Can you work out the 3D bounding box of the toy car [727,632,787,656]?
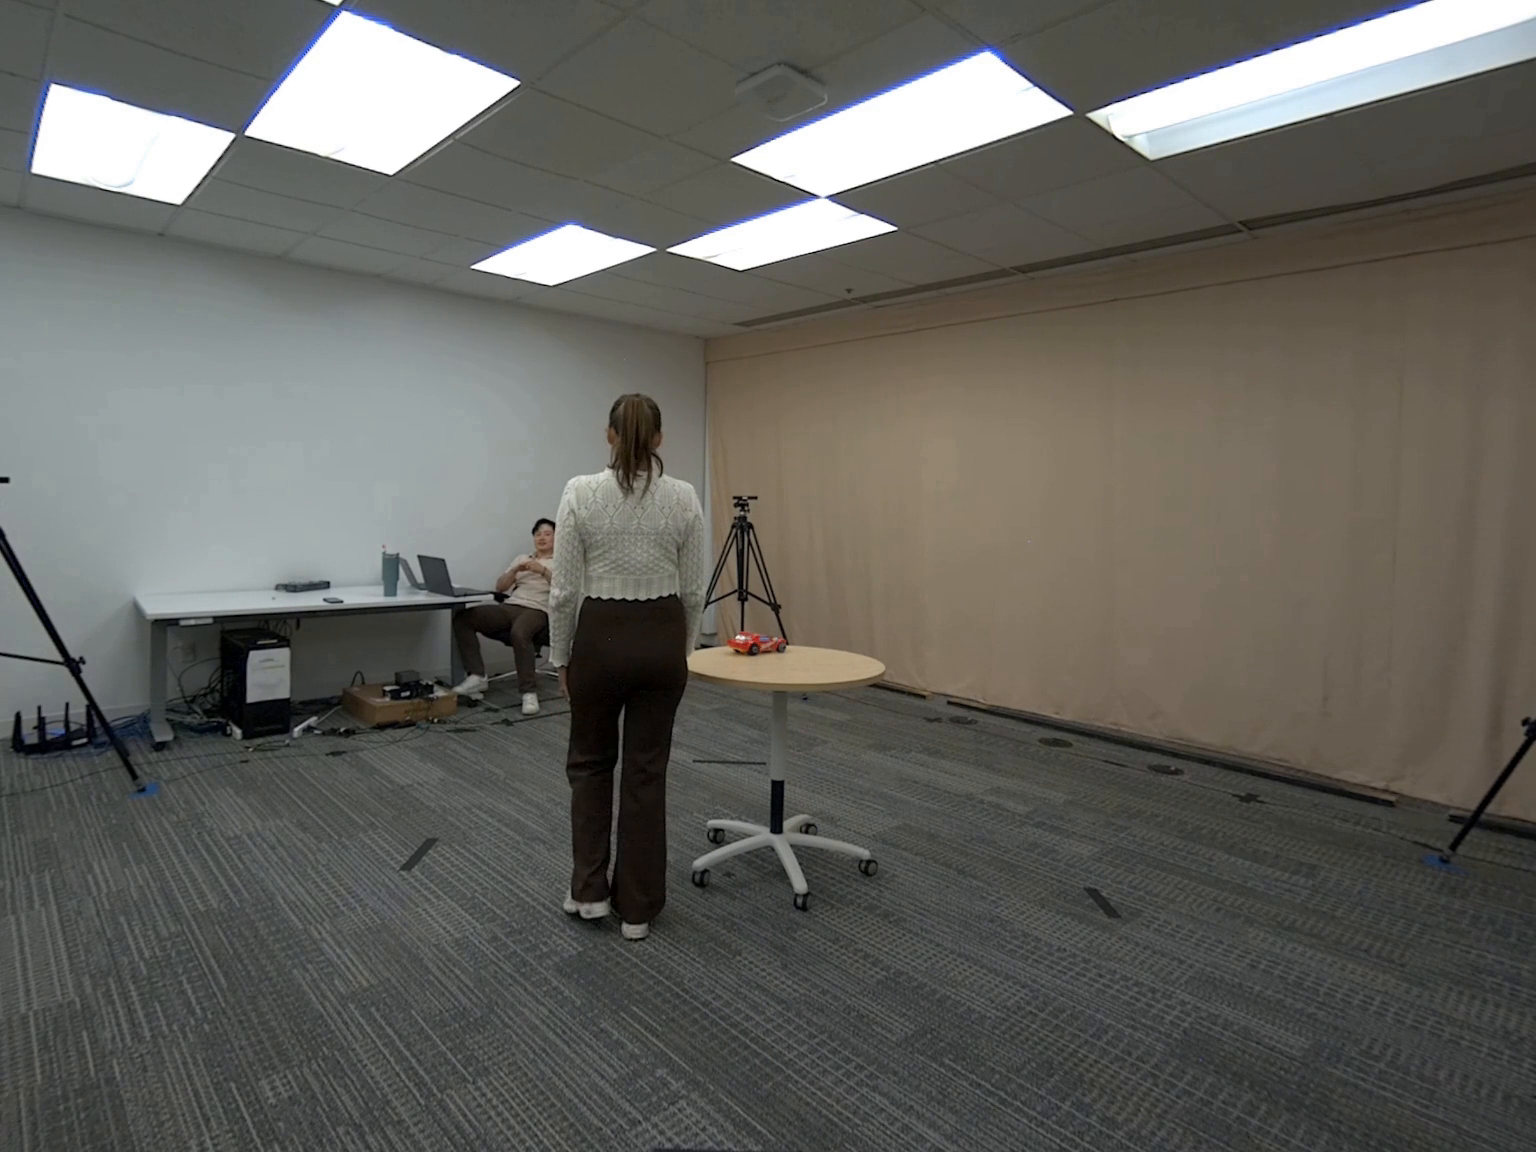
[{"bbox_3d":[-0.060,0.272,3.321,0.248,0.083,0.133,12,-4,-39],"label":"toy car"}]
